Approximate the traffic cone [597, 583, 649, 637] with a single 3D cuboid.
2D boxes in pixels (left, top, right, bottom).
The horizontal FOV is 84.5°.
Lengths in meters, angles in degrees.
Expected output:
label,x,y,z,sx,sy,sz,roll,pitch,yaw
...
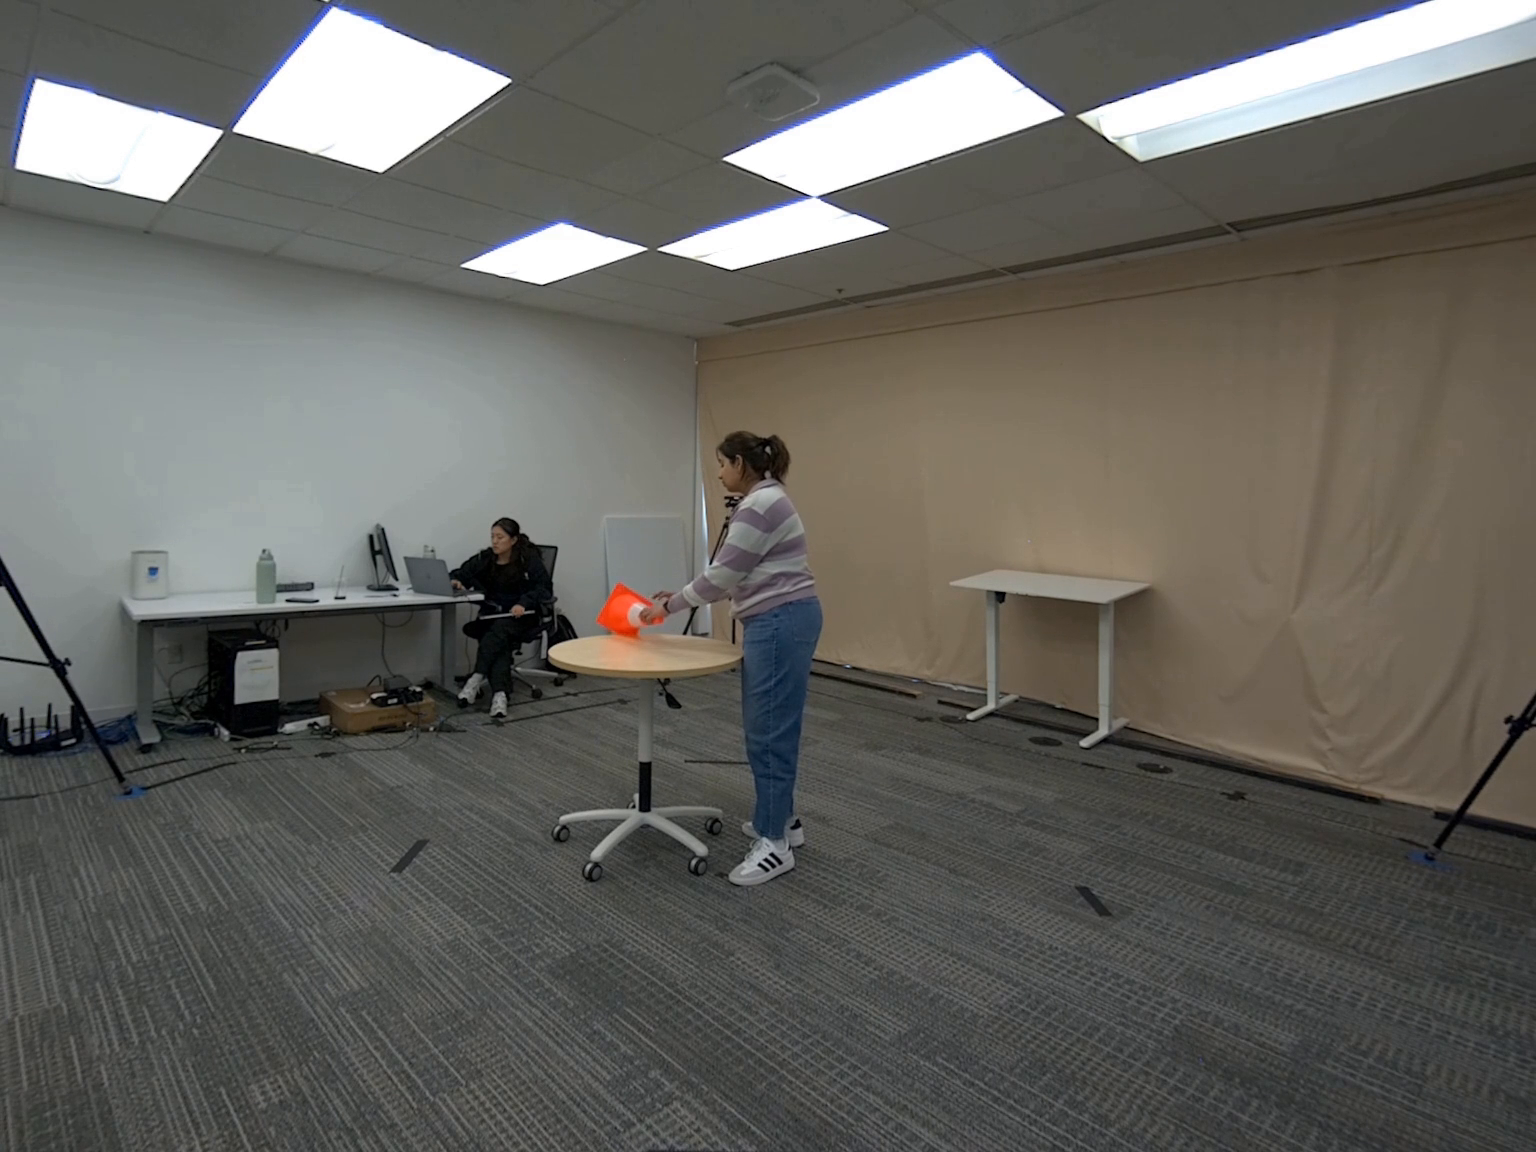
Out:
label,x,y,z,sx,sy,sz,roll,pitch,yaw
traffic cone,-0.536,0.166,3.508,0.198,0.205,0.392,35,-13,-26
